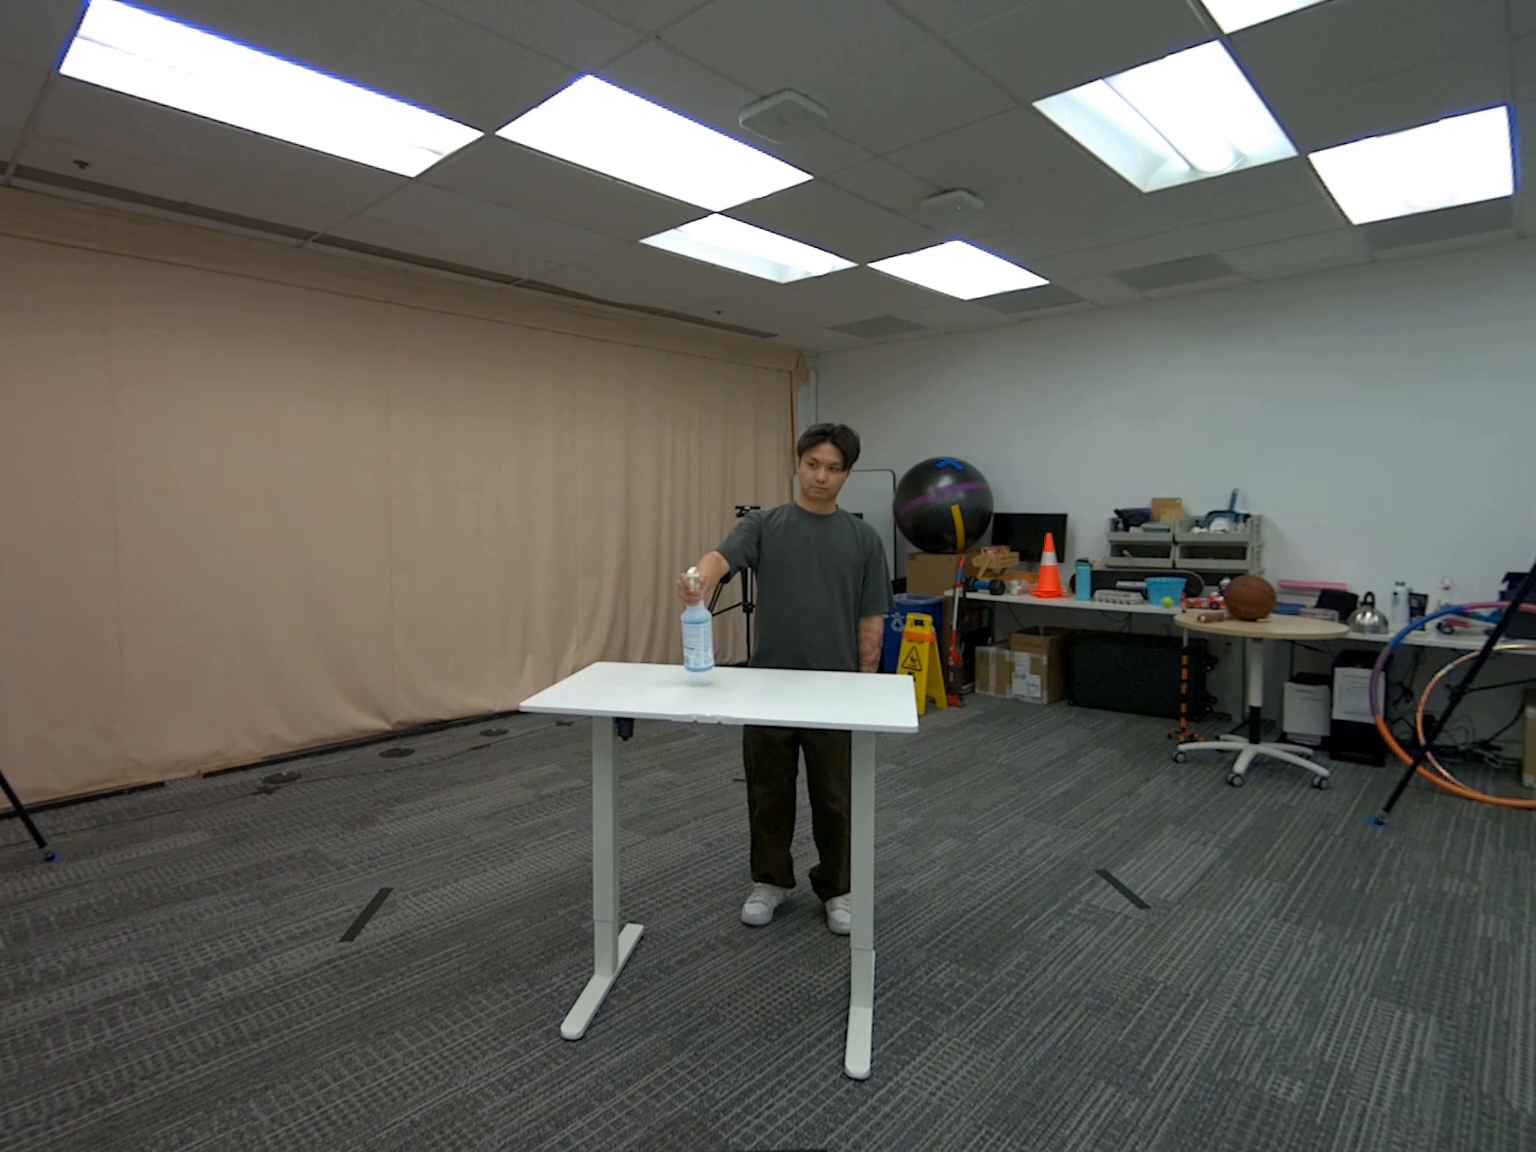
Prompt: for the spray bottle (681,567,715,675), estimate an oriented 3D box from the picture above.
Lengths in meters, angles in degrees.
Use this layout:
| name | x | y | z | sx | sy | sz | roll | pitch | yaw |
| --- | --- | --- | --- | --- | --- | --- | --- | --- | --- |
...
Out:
| name | x | y | z | sx | sy | sz | roll | pitch | yaw |
| --- | --- | --- | --- | --- | --- | --- | --- | --- | --- |
| spray bottle | -0.203 | 0.119 | 2.362 | 0.090 | 0.295 | 0.088 | 4 | 13 | 32 |
